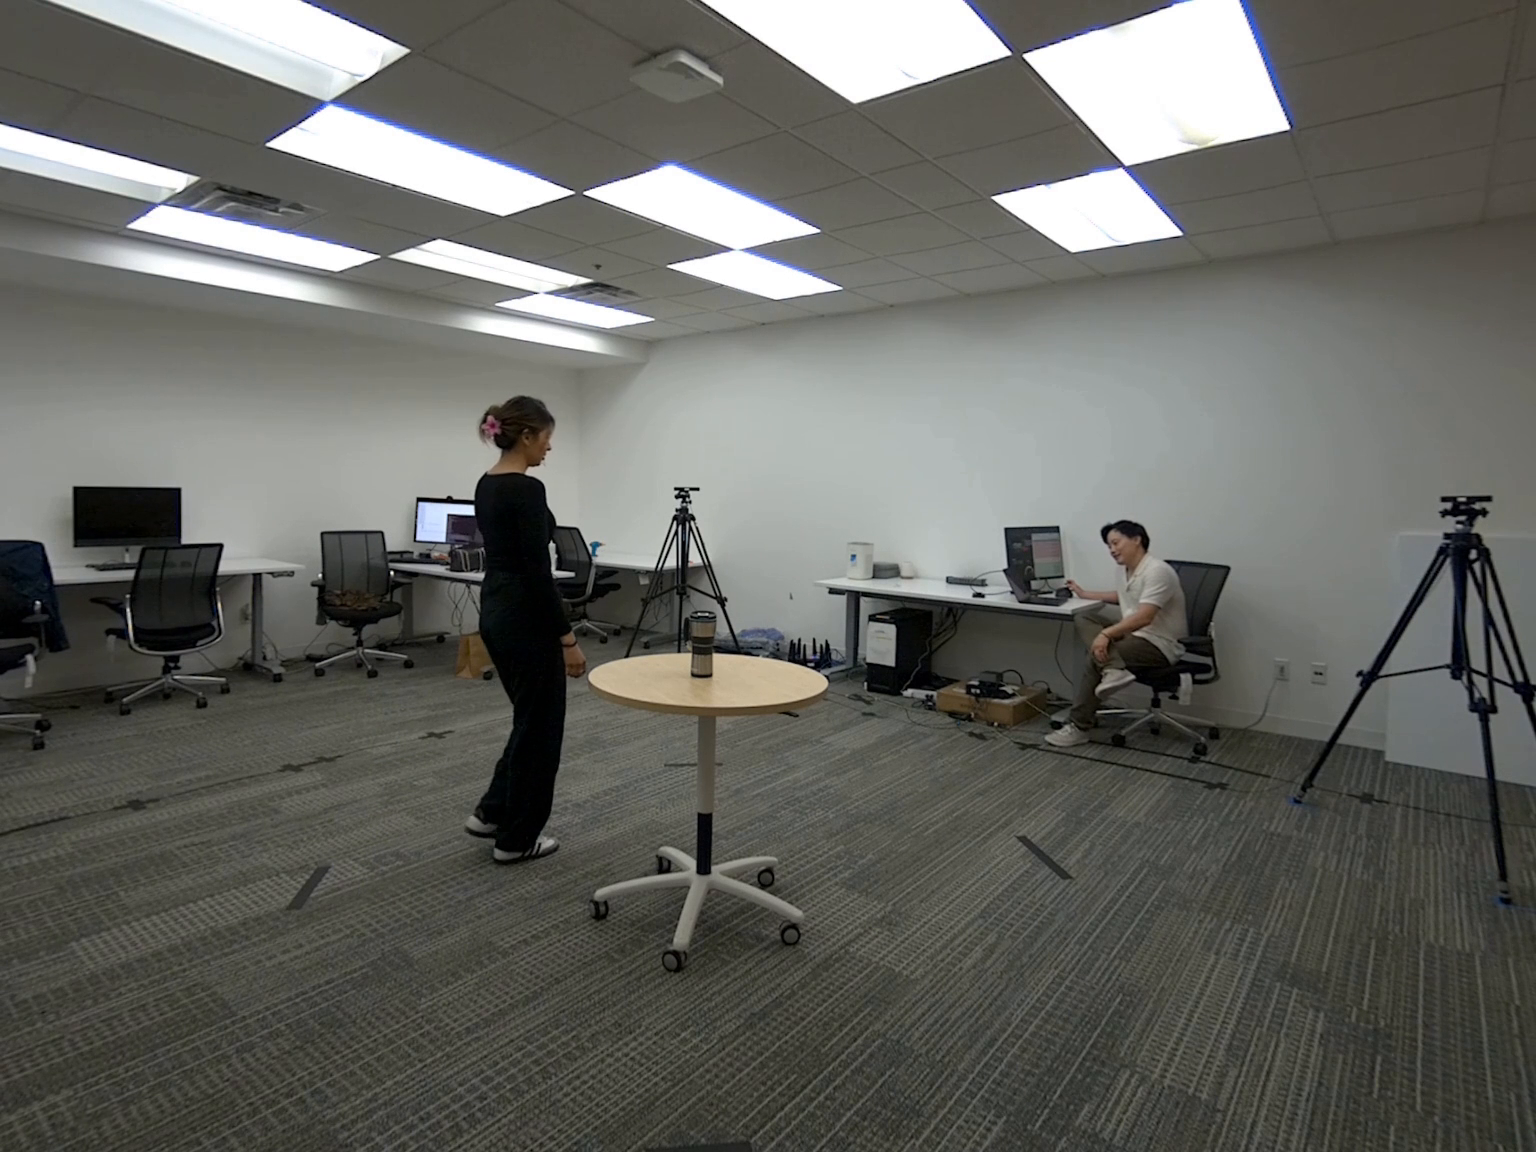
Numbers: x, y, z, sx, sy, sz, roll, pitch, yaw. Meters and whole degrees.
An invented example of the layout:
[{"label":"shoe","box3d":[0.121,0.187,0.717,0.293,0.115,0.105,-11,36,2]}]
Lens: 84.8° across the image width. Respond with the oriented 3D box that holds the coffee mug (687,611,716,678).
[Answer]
[{"label":"coffee mug","box3d":[-0.208,0.220,2.748,0.090,0.202,0.119,-2,4,35]}]
